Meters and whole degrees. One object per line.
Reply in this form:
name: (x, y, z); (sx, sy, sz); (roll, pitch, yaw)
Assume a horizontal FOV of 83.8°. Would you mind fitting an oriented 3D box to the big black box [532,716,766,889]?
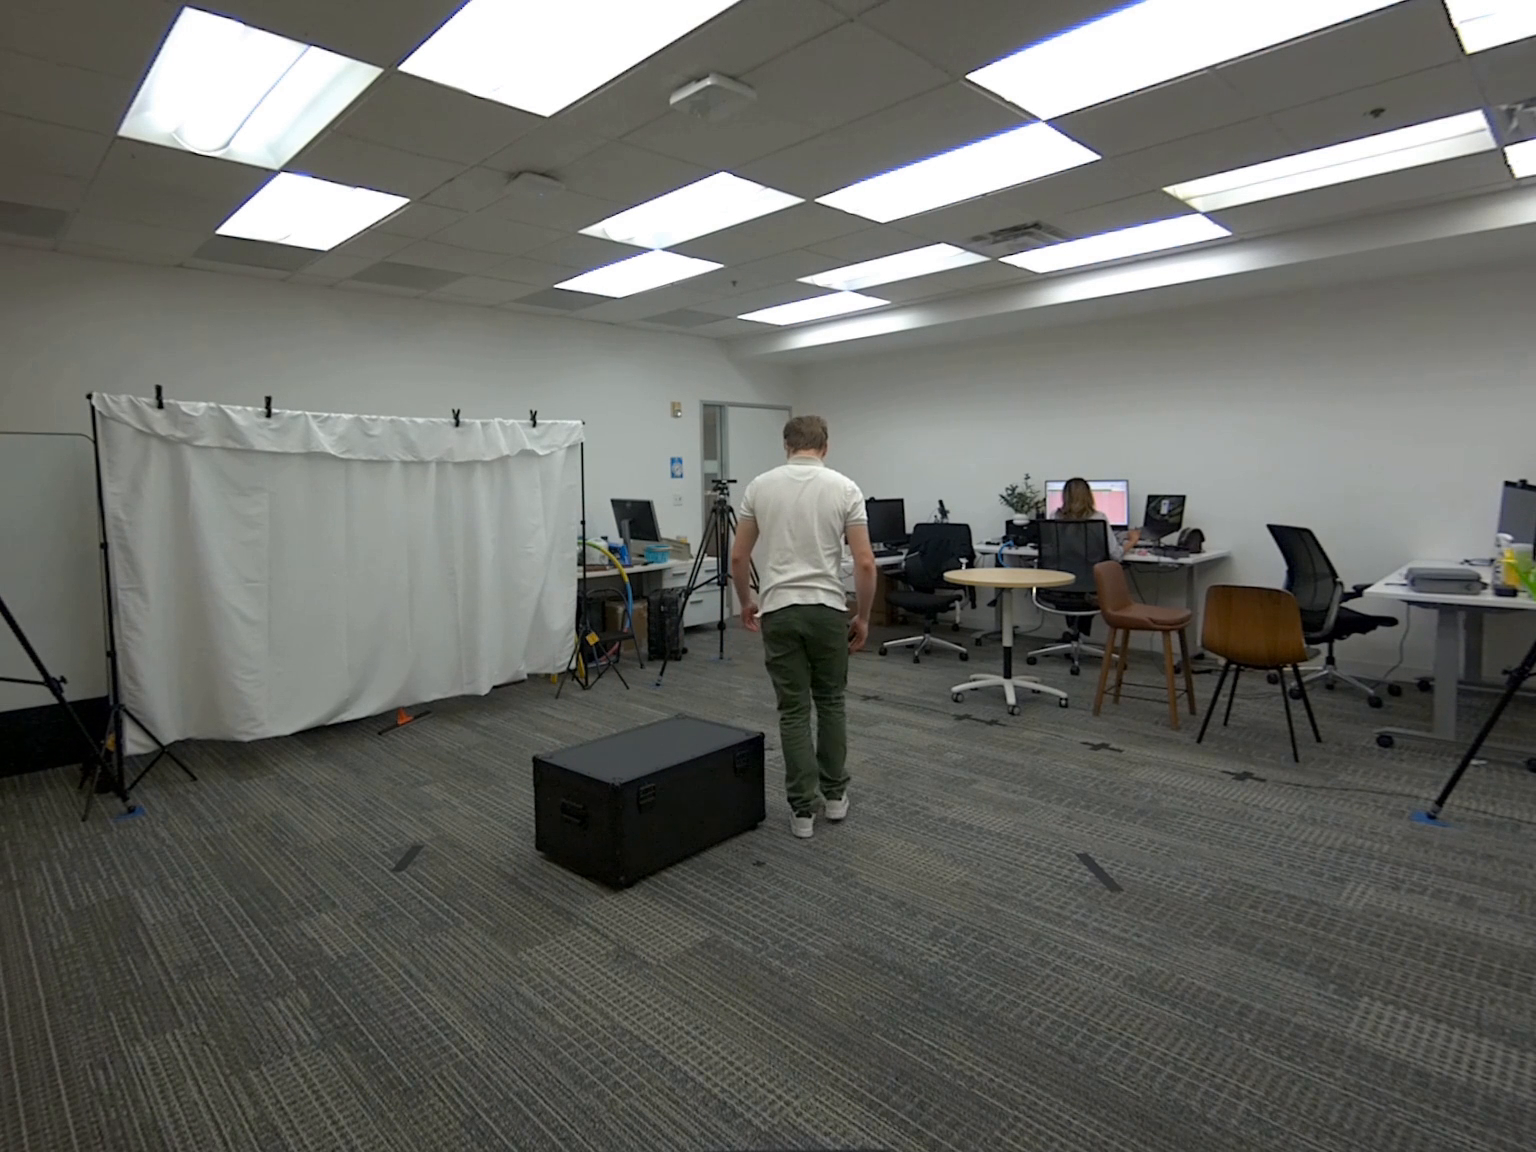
big black box: (-0.416, 0.831, 3.348); (0.539, 0.384, 0.846); (2, 6, 41)
